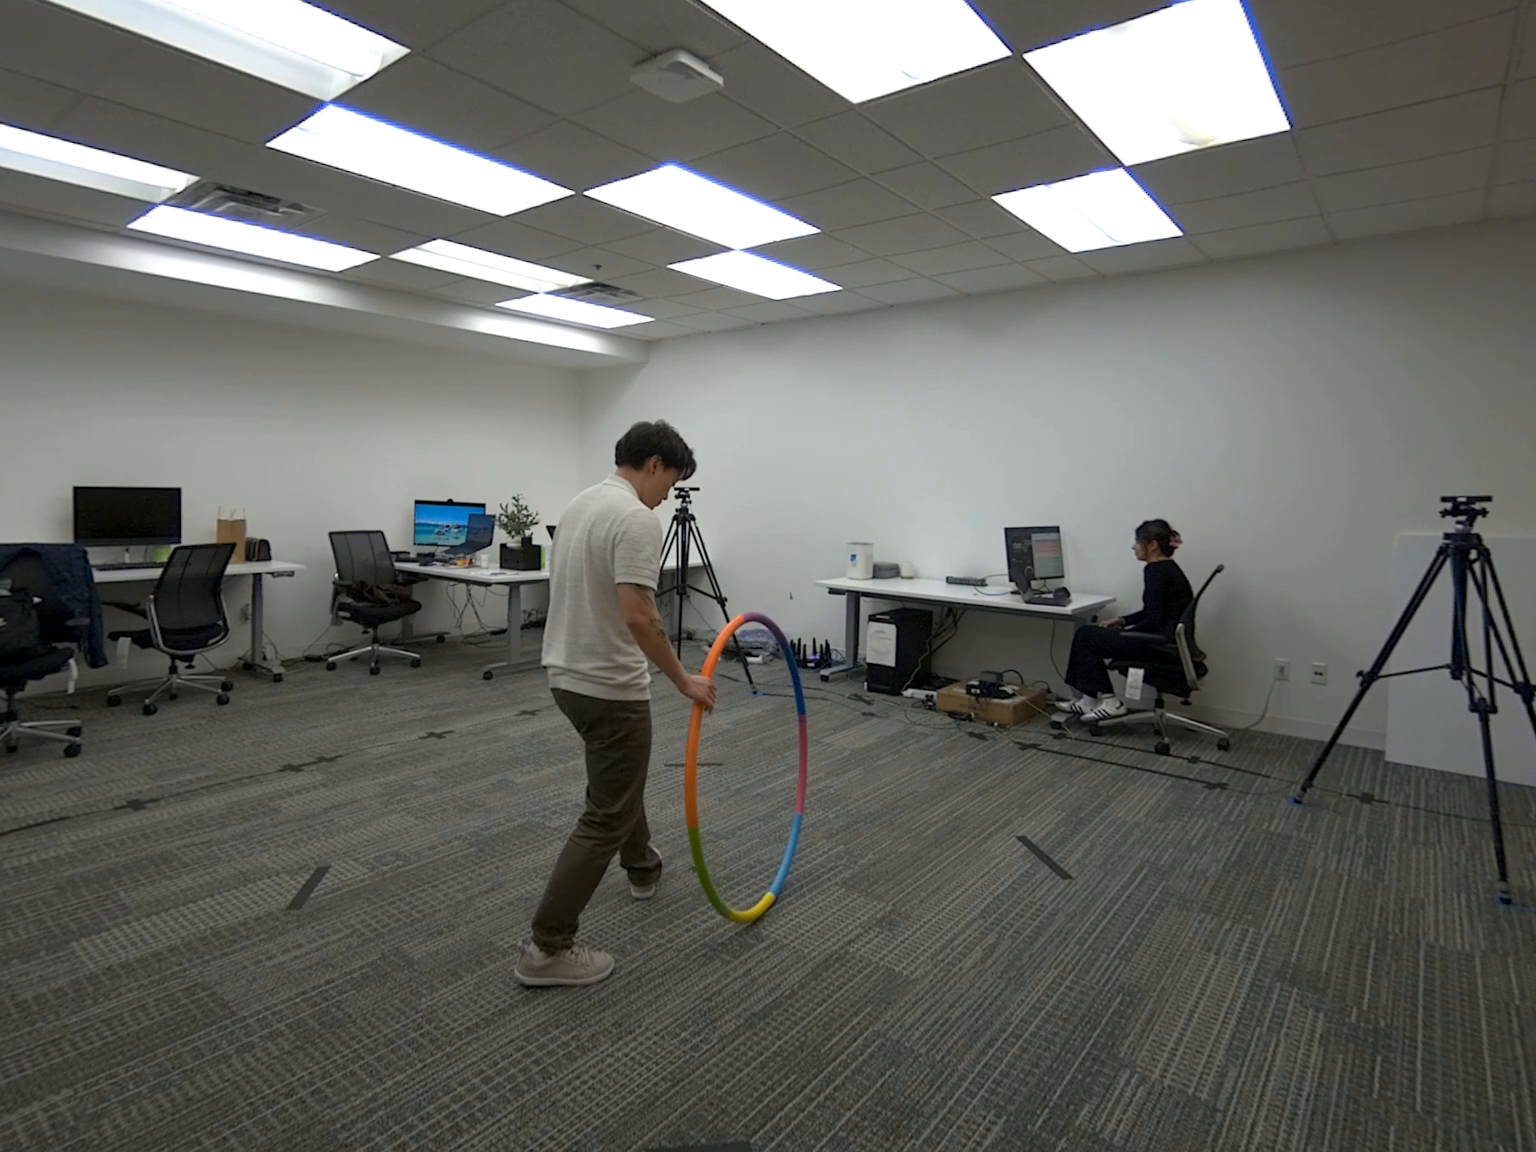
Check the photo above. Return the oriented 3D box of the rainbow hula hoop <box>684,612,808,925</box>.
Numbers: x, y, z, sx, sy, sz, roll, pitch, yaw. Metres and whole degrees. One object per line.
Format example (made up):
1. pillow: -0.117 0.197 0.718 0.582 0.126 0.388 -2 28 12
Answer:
1. rainbow hula hoop: -0.050 0.610 2.821 0.036 0.978 0.959 -4 2 22
